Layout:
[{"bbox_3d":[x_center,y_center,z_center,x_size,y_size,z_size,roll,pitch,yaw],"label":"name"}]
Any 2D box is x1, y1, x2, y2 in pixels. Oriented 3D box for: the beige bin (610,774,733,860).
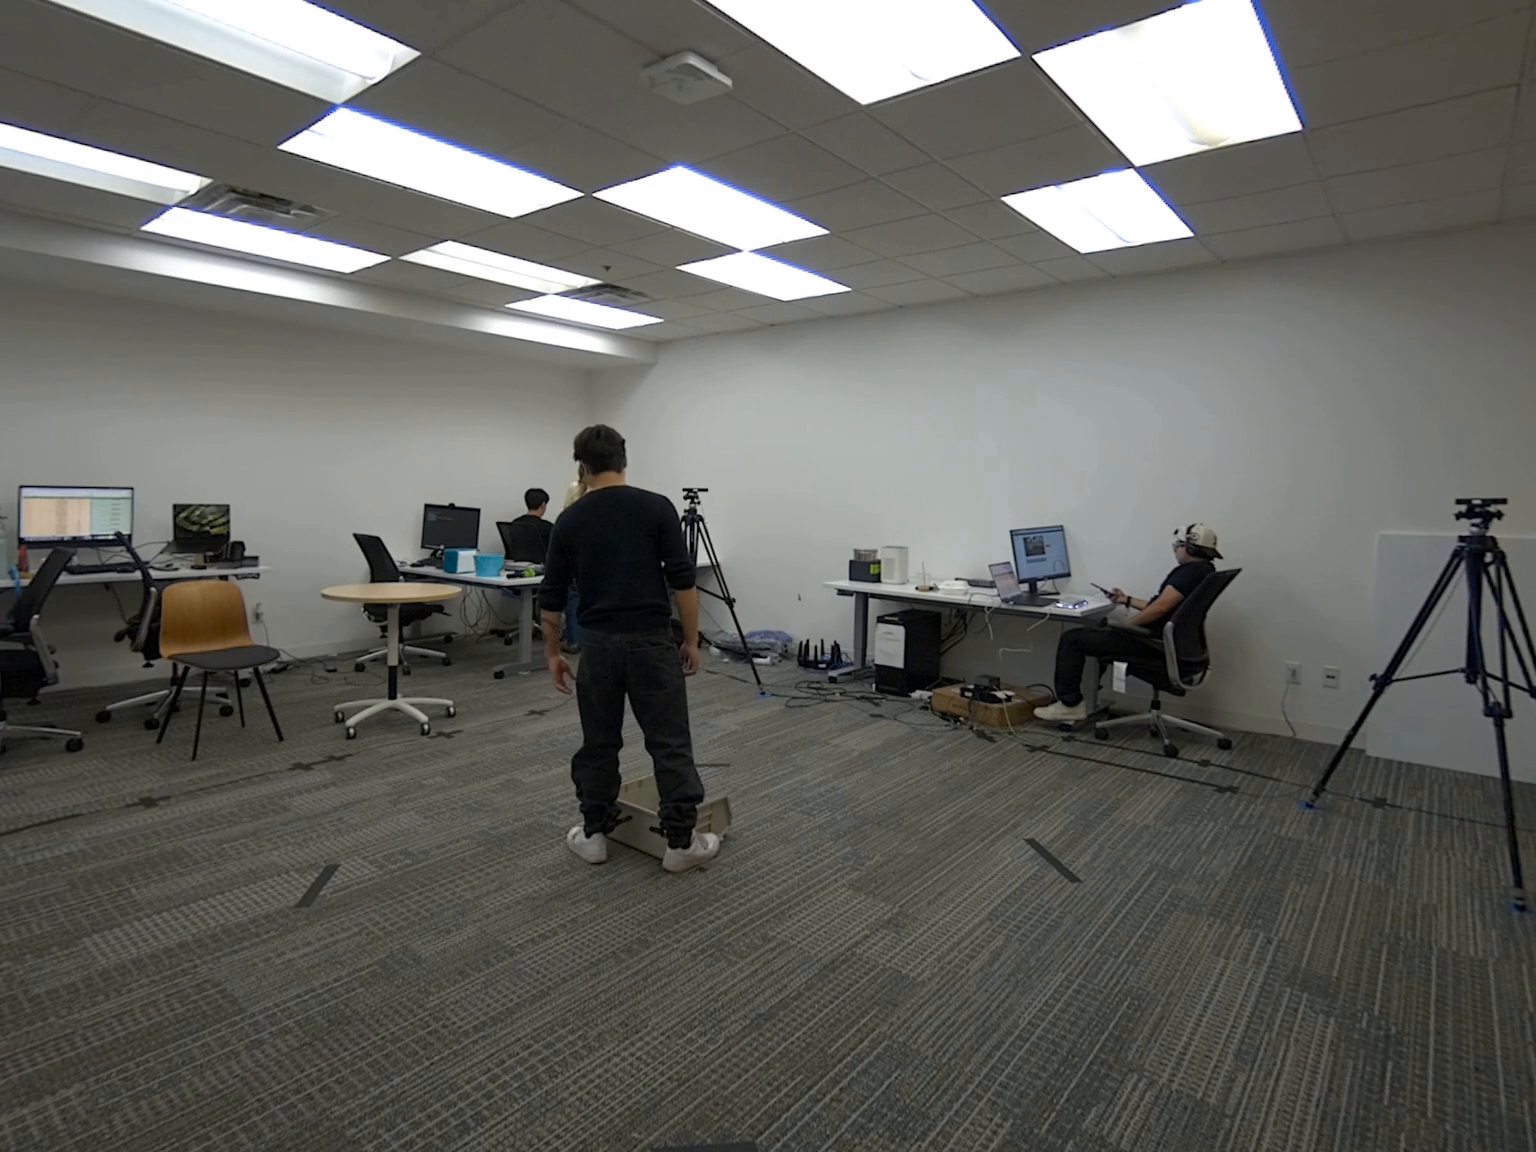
[{"bbox_3d":[-0.431,0.950,3.408,0.436,0.188,0.366,5,8,39],"label":"beige bin"}]
